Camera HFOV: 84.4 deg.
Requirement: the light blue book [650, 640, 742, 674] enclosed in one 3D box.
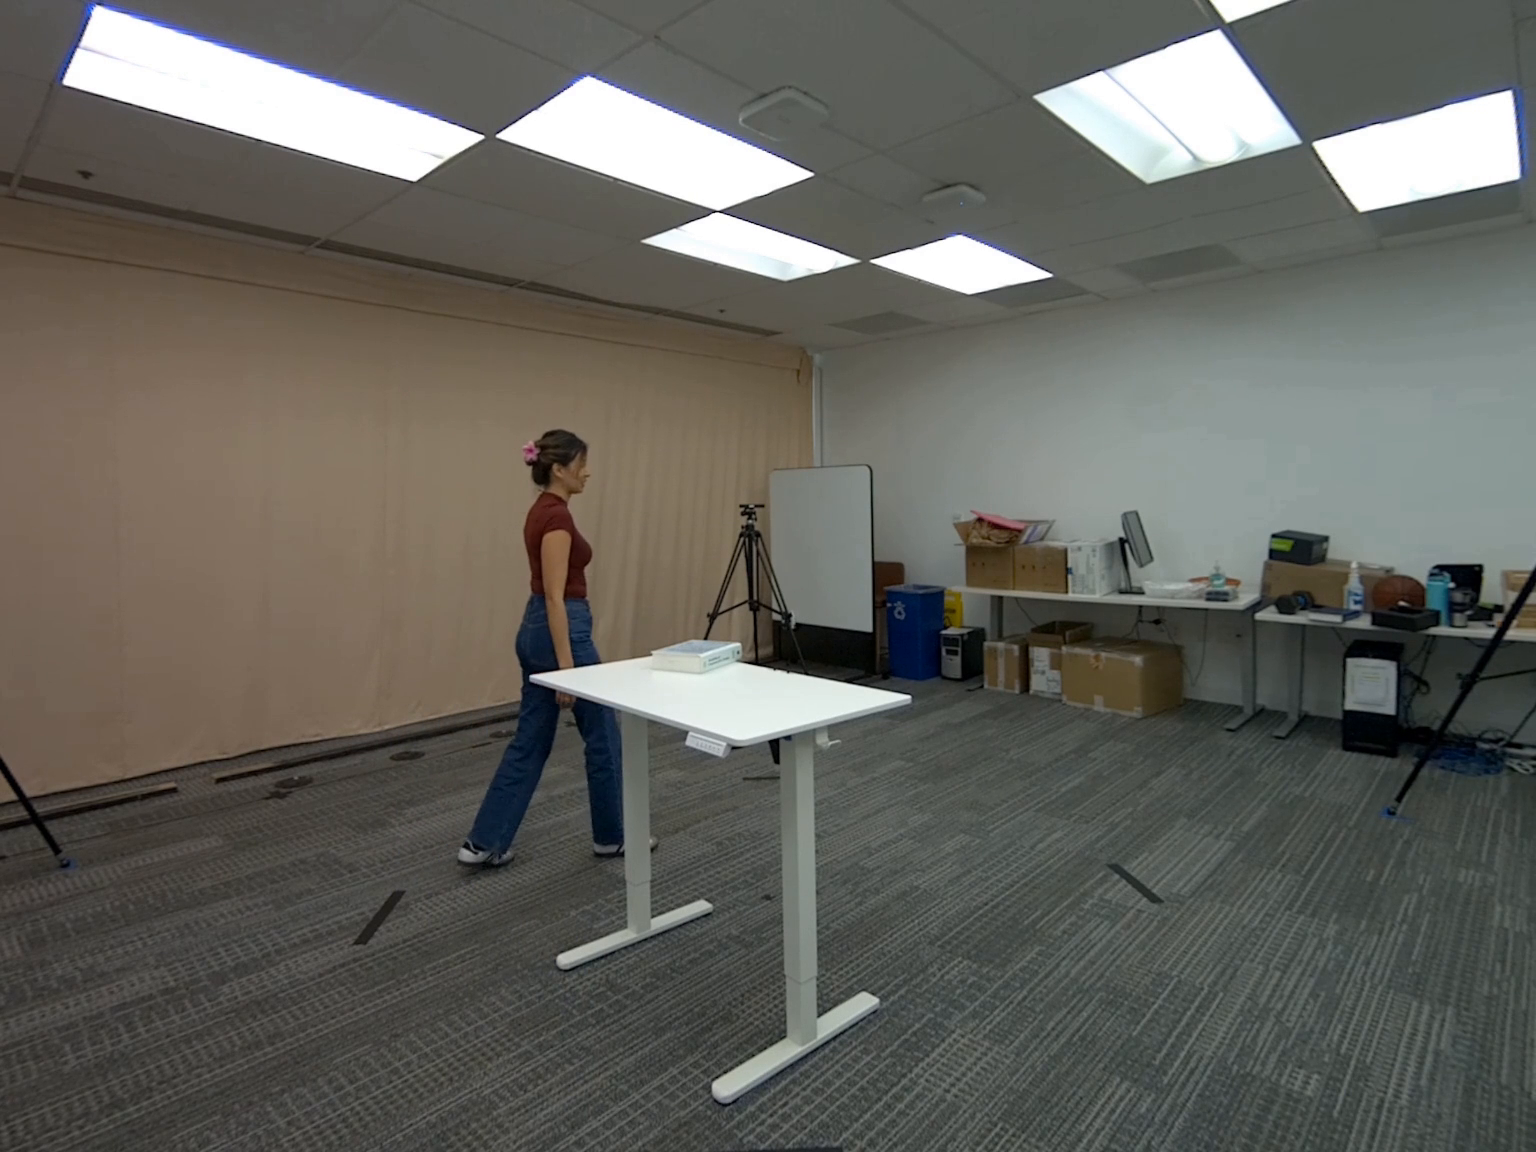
[{"bbox_3d":[-0.232,0.256,2.719,0.197,0.059,0.254,1,5,28],"label":"light blue book"}]
